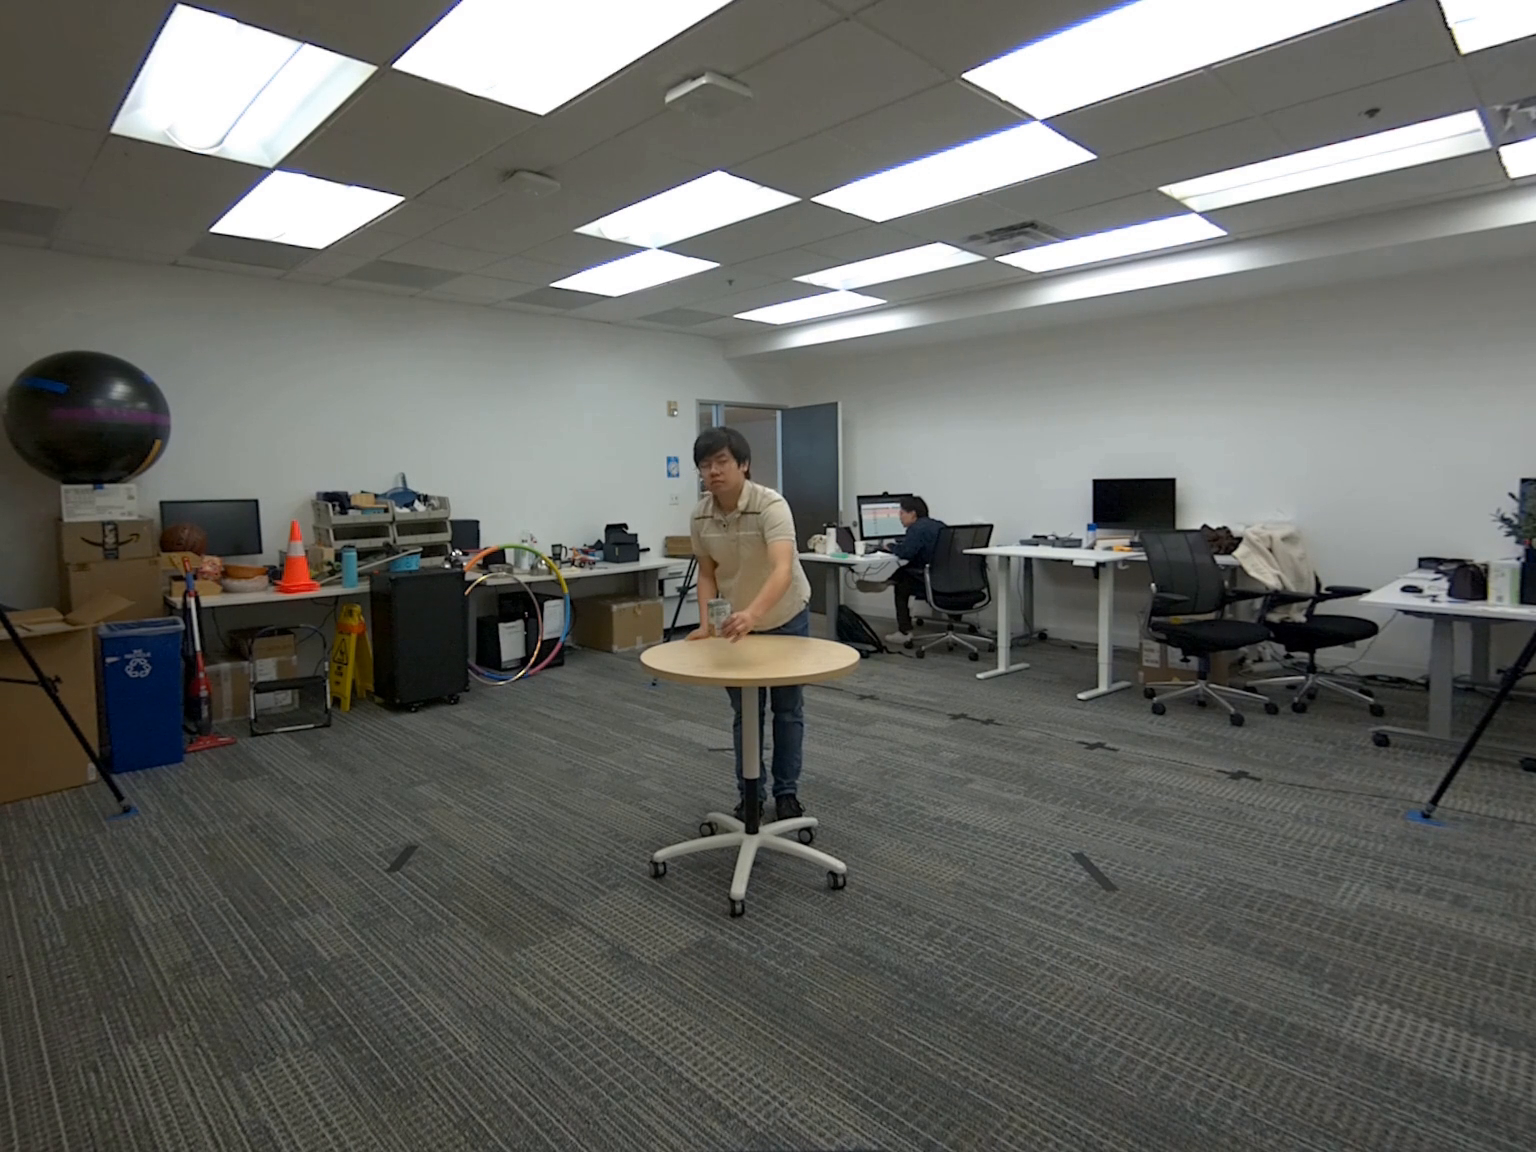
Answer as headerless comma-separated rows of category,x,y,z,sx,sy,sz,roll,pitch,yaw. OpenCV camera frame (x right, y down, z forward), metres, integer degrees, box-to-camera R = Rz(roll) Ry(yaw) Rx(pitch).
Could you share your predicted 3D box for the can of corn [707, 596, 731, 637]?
can of corn,-0.154,0.135,2.760,0.074,0.110,0.074,-5,6,-1
